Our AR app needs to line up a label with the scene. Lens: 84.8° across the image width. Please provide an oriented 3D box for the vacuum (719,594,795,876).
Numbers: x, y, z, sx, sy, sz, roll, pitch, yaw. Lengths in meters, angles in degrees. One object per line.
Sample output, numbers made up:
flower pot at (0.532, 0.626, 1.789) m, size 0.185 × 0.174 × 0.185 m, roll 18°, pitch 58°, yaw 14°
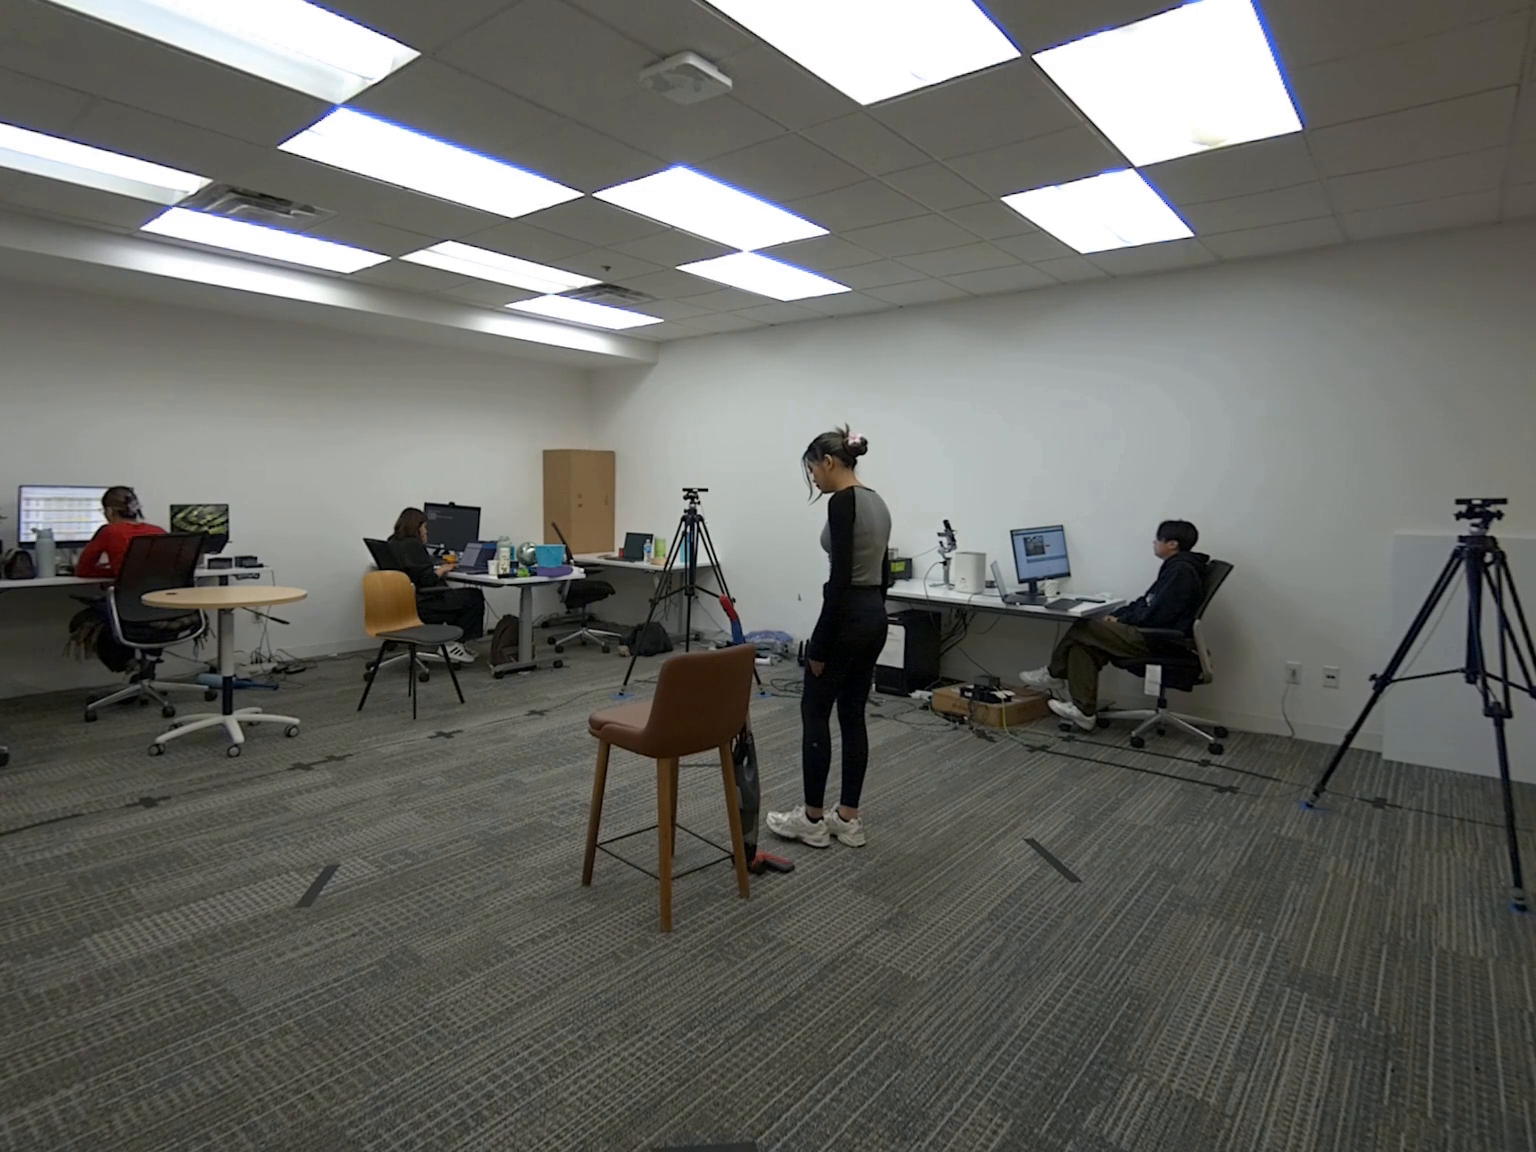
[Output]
vacuum at (-0.108, 0.566, 3.031) m, size 0.141 × 1.035 × 0.261 m, roll -17°, pitch 16°, yaw -38°
